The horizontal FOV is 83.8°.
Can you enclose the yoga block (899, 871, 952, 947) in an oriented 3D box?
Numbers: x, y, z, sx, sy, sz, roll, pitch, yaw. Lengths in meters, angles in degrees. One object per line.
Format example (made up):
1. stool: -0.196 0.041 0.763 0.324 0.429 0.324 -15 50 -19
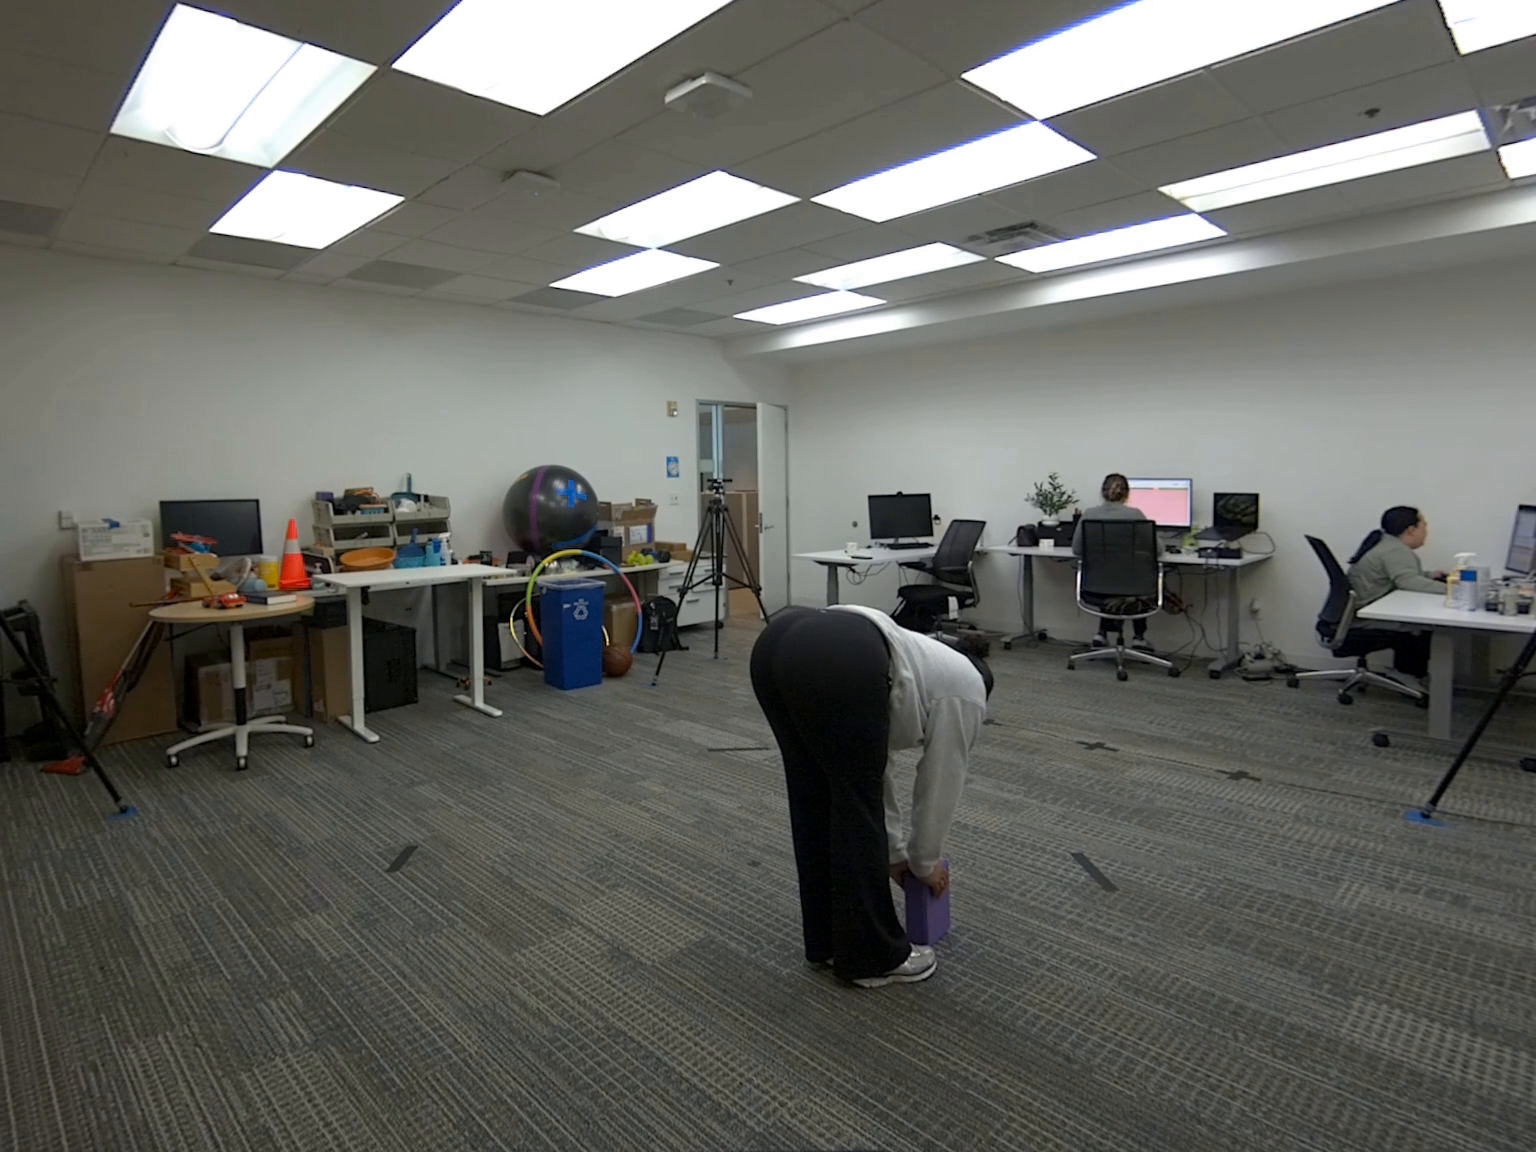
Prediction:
1. yoga block: 0.486 0.978 2.576 0.079 0.228 0.145 6 10 41
